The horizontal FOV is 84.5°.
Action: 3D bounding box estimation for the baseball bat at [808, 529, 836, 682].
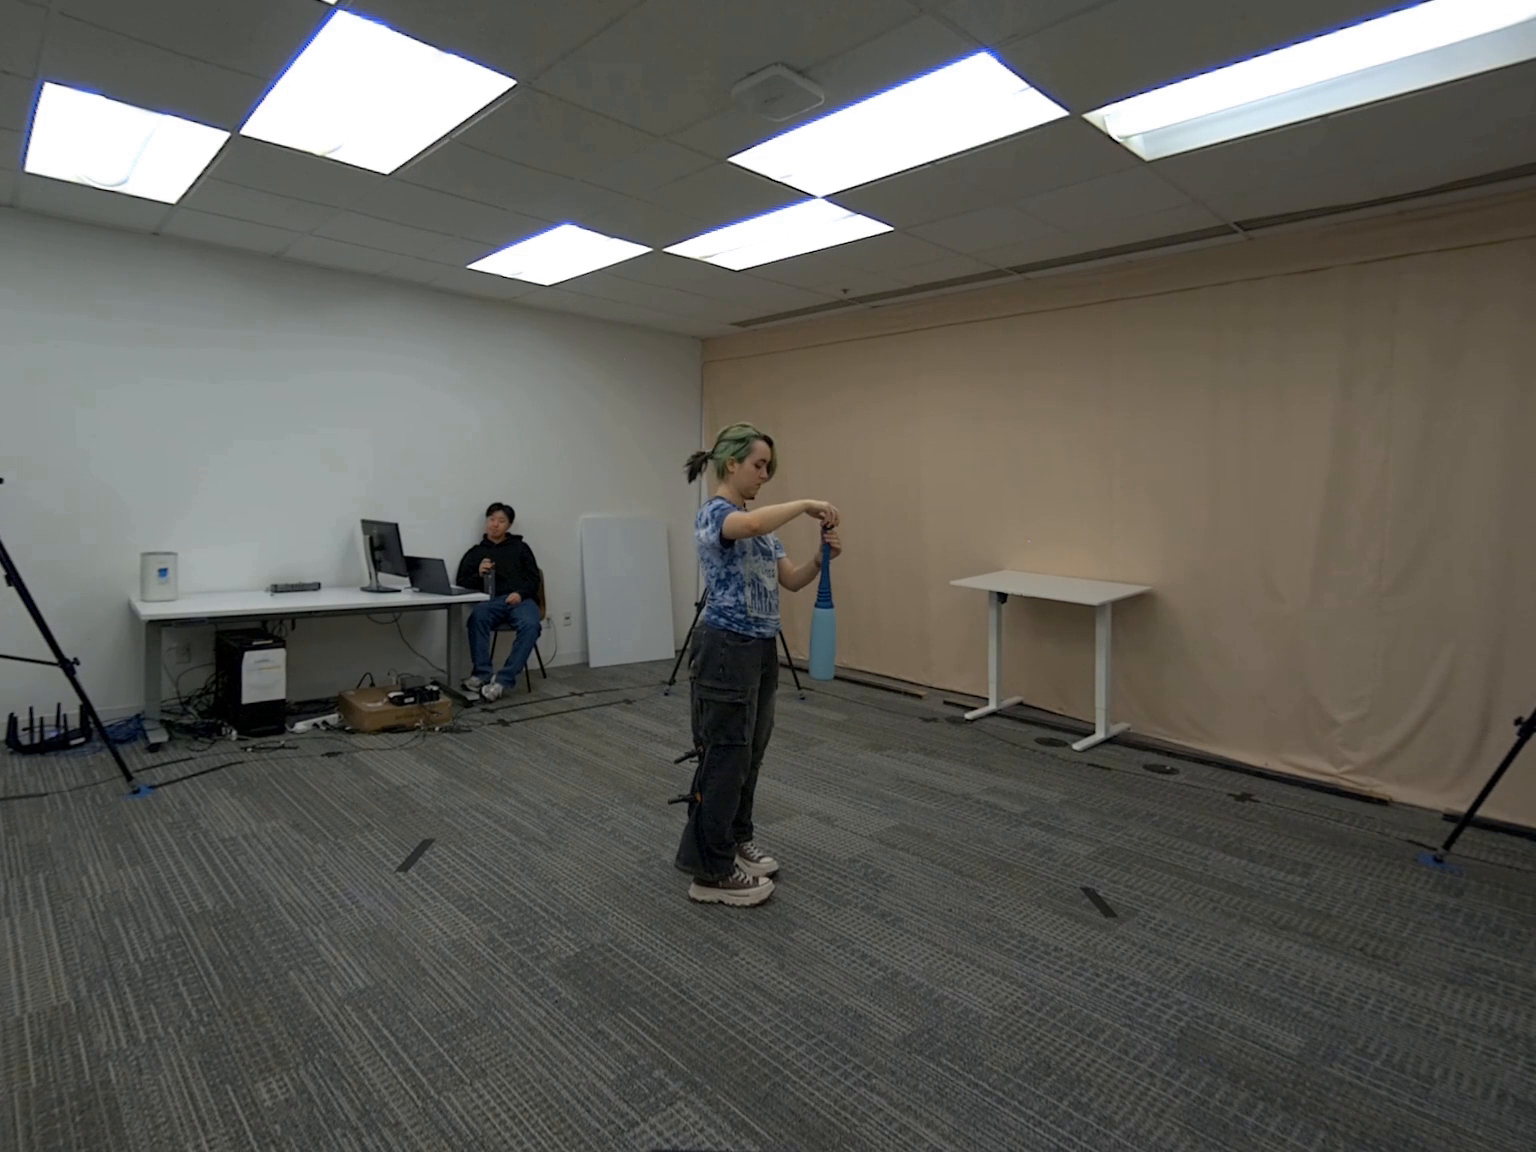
[{"bbox_3d":[0.177,0.079,2.854,0.089,0.541,0.089,2,6,-2],"label":"baseball bat"}]
